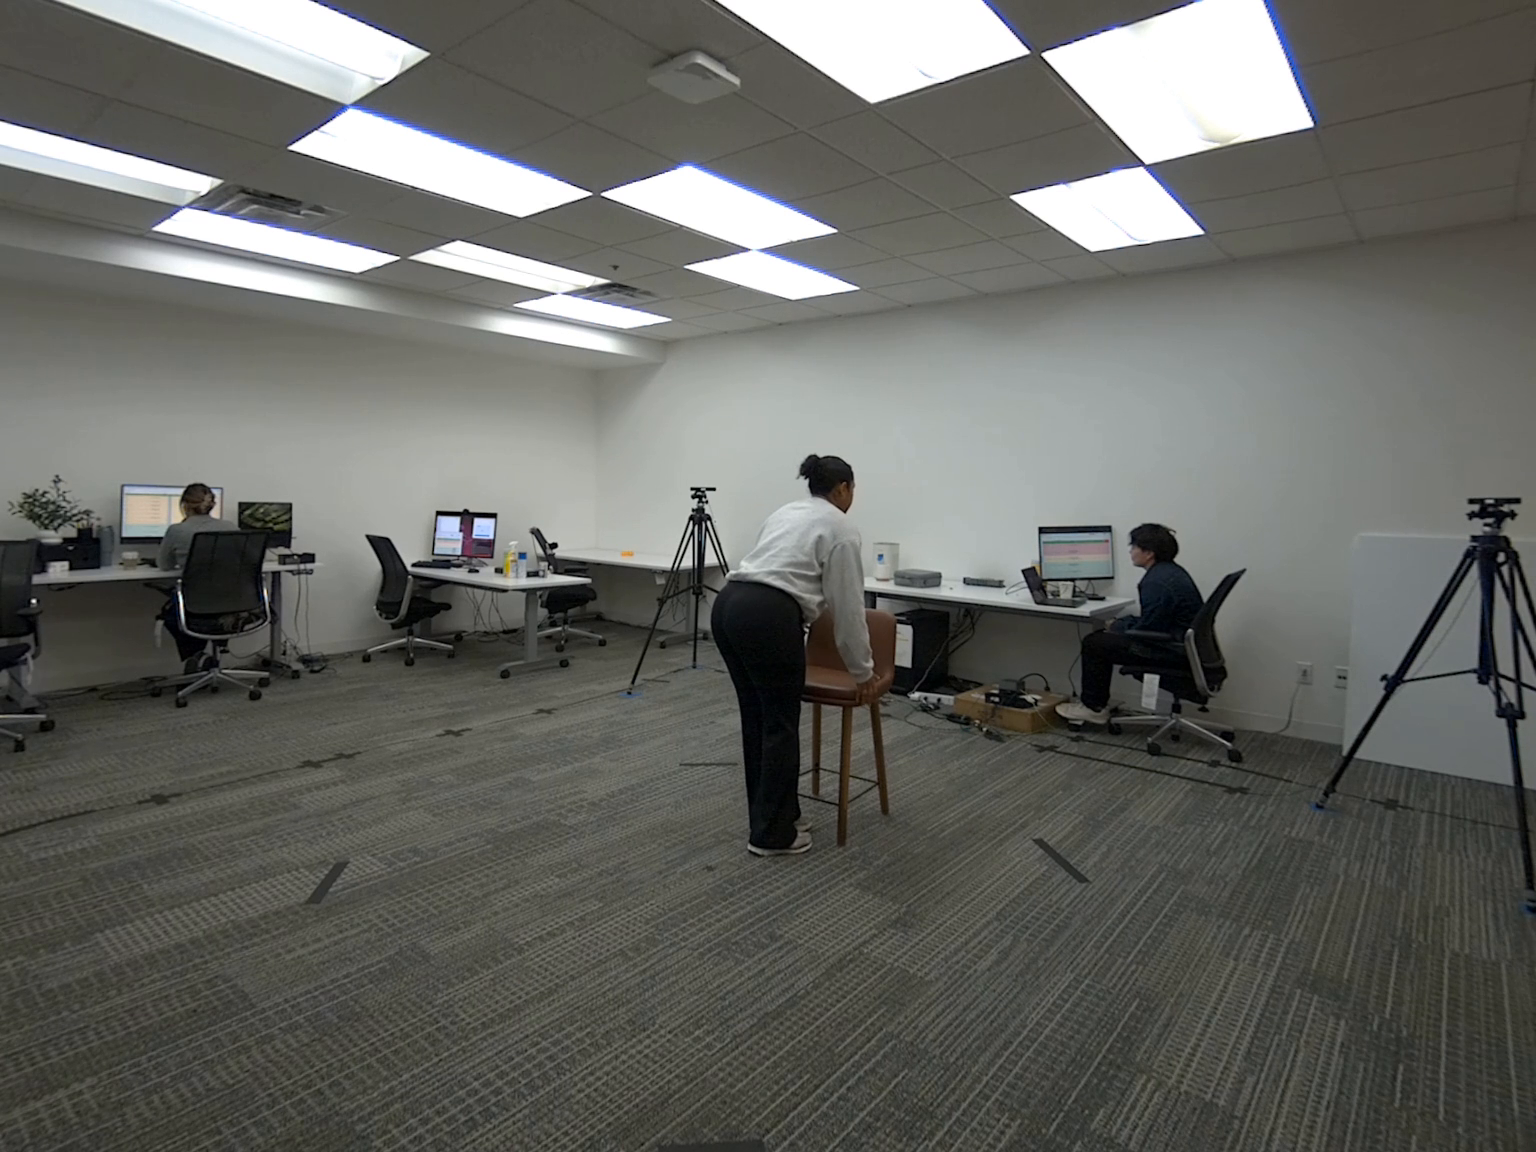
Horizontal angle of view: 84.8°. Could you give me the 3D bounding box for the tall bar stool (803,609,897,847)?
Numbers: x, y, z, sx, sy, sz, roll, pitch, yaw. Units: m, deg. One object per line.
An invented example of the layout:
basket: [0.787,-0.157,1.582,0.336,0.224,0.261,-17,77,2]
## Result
tall bar stool: [0.257,0.587,3.609,0.471,0.888,0.453,4,2,34]
